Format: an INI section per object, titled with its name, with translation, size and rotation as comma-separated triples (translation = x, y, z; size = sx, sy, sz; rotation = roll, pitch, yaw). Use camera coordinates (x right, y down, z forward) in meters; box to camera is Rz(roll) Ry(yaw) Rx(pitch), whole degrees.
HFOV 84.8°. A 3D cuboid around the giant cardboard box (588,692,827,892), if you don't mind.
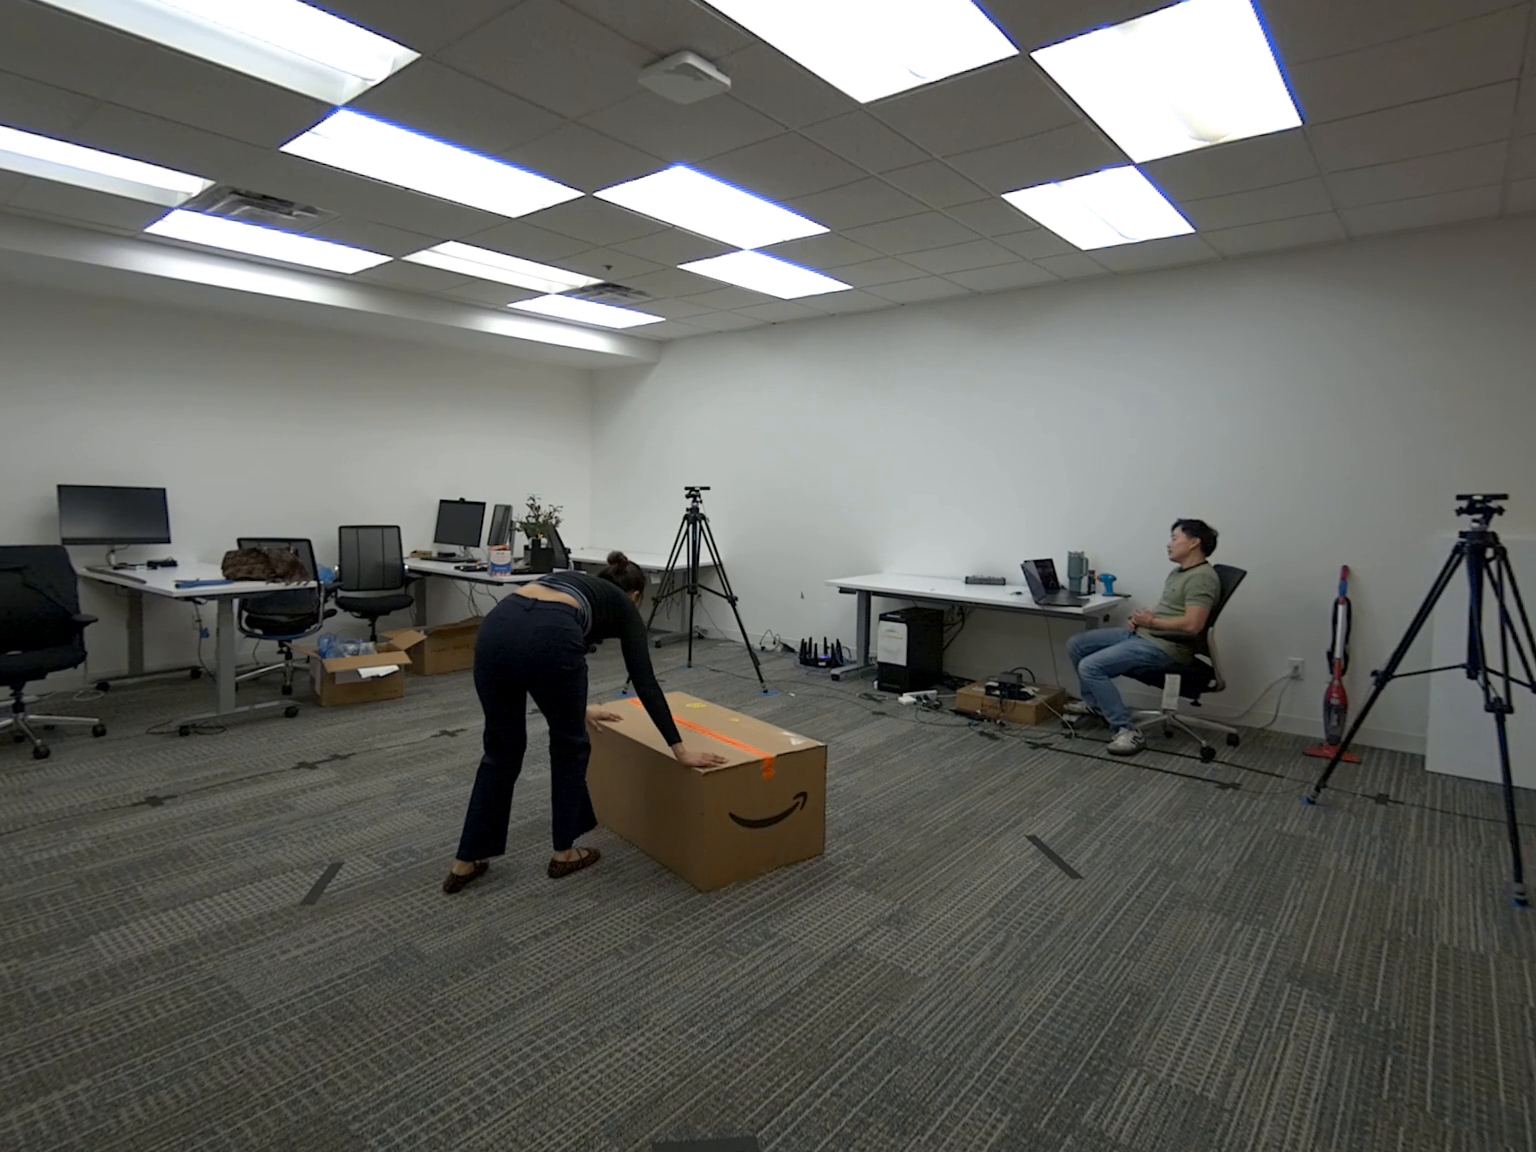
[giant cardboard box]
translation = -0.330, 0.813, 3.476
size = 0.561, 0.424, 1.060
rotation = -4, 7, -38
